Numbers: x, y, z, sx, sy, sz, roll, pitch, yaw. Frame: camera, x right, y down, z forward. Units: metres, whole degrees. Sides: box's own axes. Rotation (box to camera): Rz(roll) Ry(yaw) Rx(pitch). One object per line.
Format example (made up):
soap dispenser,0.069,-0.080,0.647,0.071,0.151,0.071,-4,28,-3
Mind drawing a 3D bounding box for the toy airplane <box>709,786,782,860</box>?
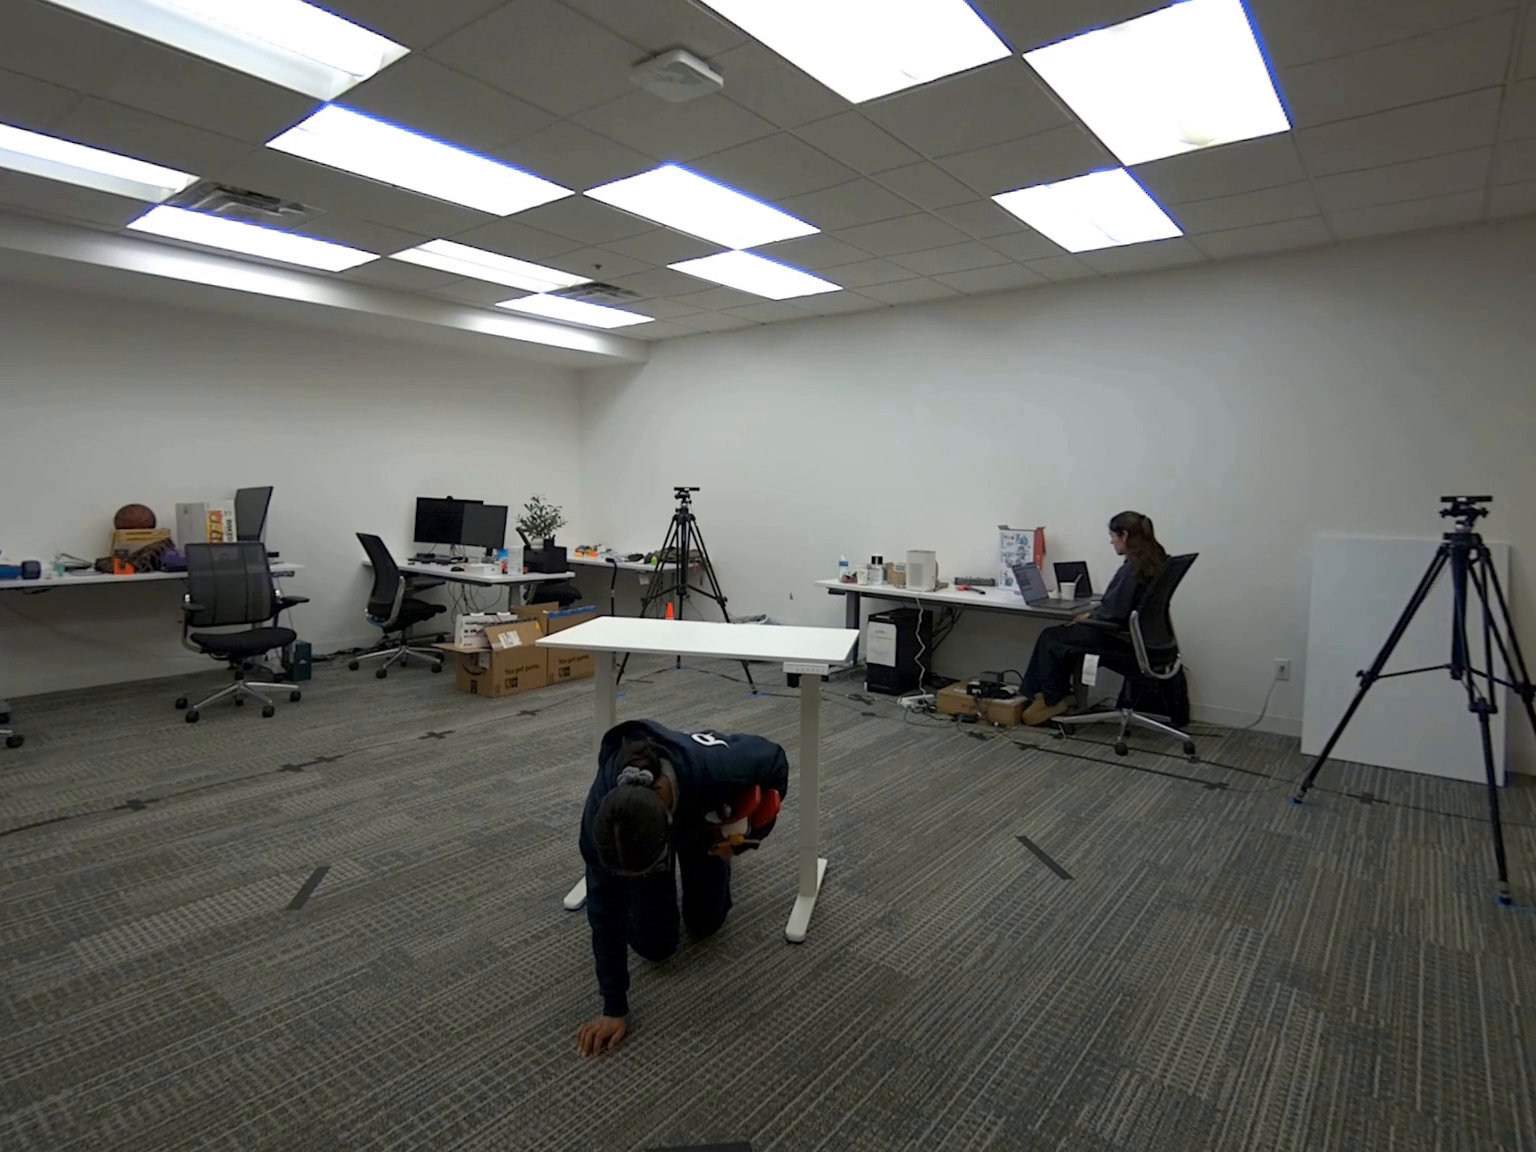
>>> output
toy airplane,-0.093,0.593,2.327,0.151,0.261,0.258,40,-24,-28
